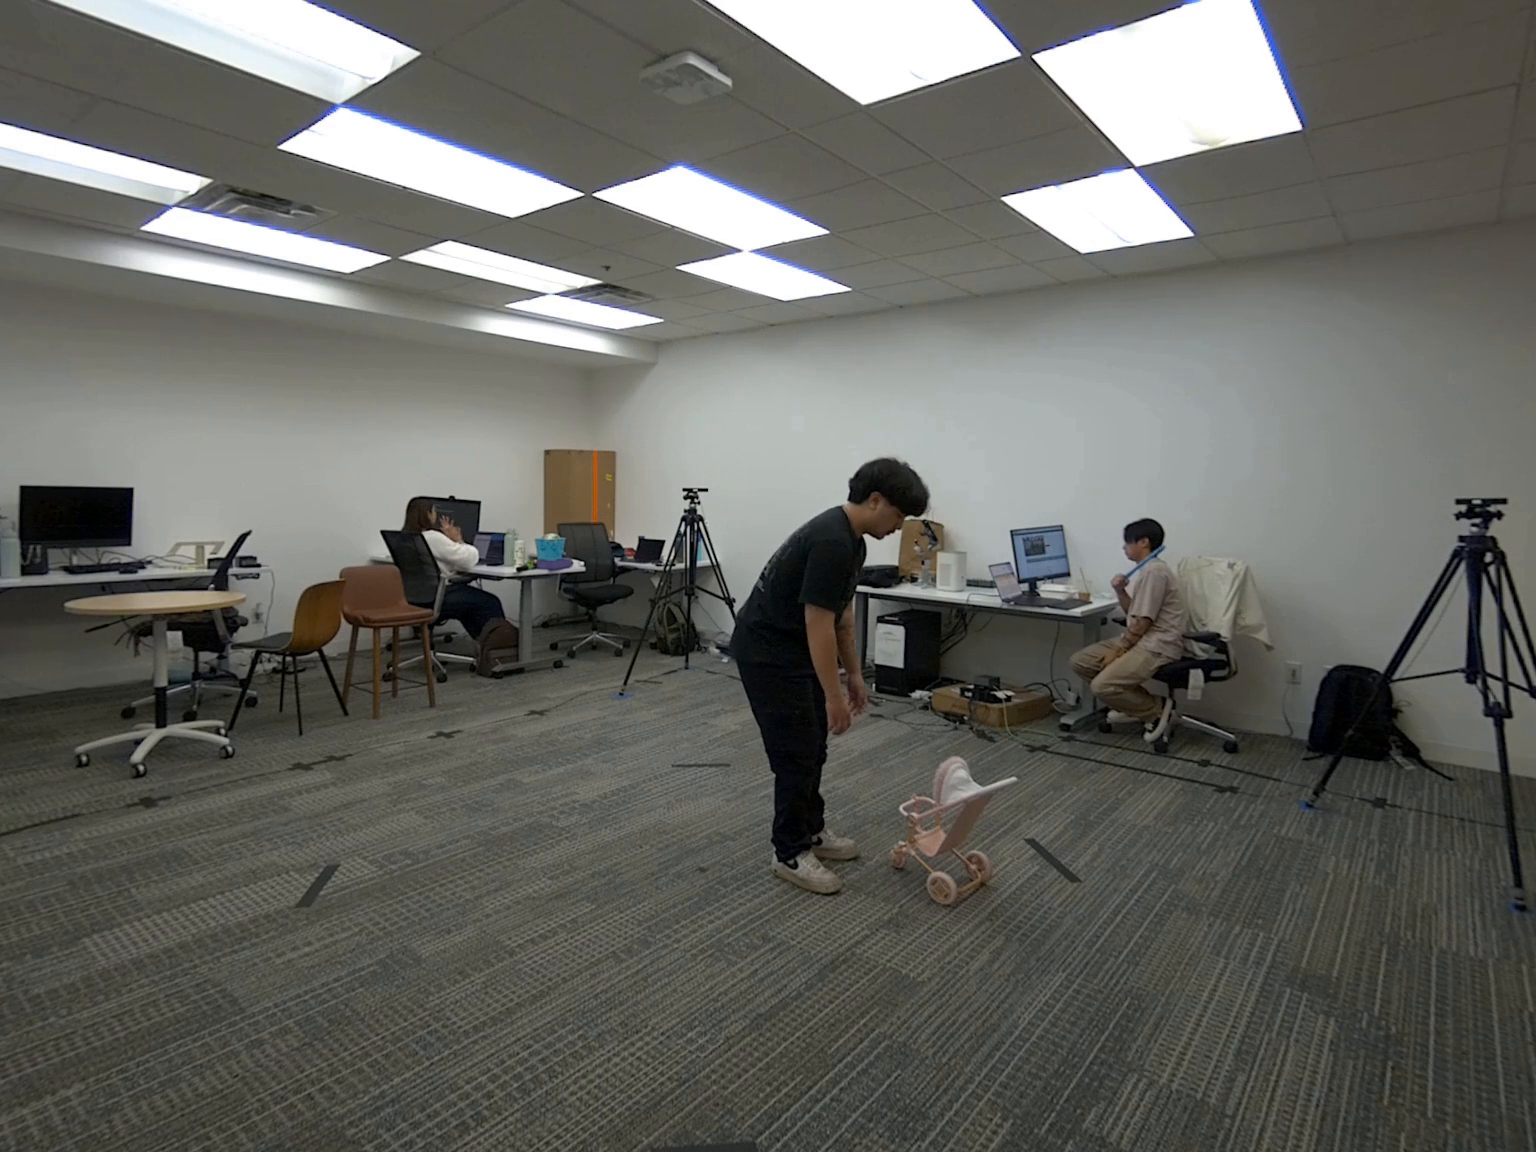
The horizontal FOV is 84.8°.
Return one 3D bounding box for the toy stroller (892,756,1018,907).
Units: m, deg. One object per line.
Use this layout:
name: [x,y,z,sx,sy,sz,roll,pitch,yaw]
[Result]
toy stroller: [0.625,0.874,3.018,0.273,0.529,0.356,-1,20,-42]
